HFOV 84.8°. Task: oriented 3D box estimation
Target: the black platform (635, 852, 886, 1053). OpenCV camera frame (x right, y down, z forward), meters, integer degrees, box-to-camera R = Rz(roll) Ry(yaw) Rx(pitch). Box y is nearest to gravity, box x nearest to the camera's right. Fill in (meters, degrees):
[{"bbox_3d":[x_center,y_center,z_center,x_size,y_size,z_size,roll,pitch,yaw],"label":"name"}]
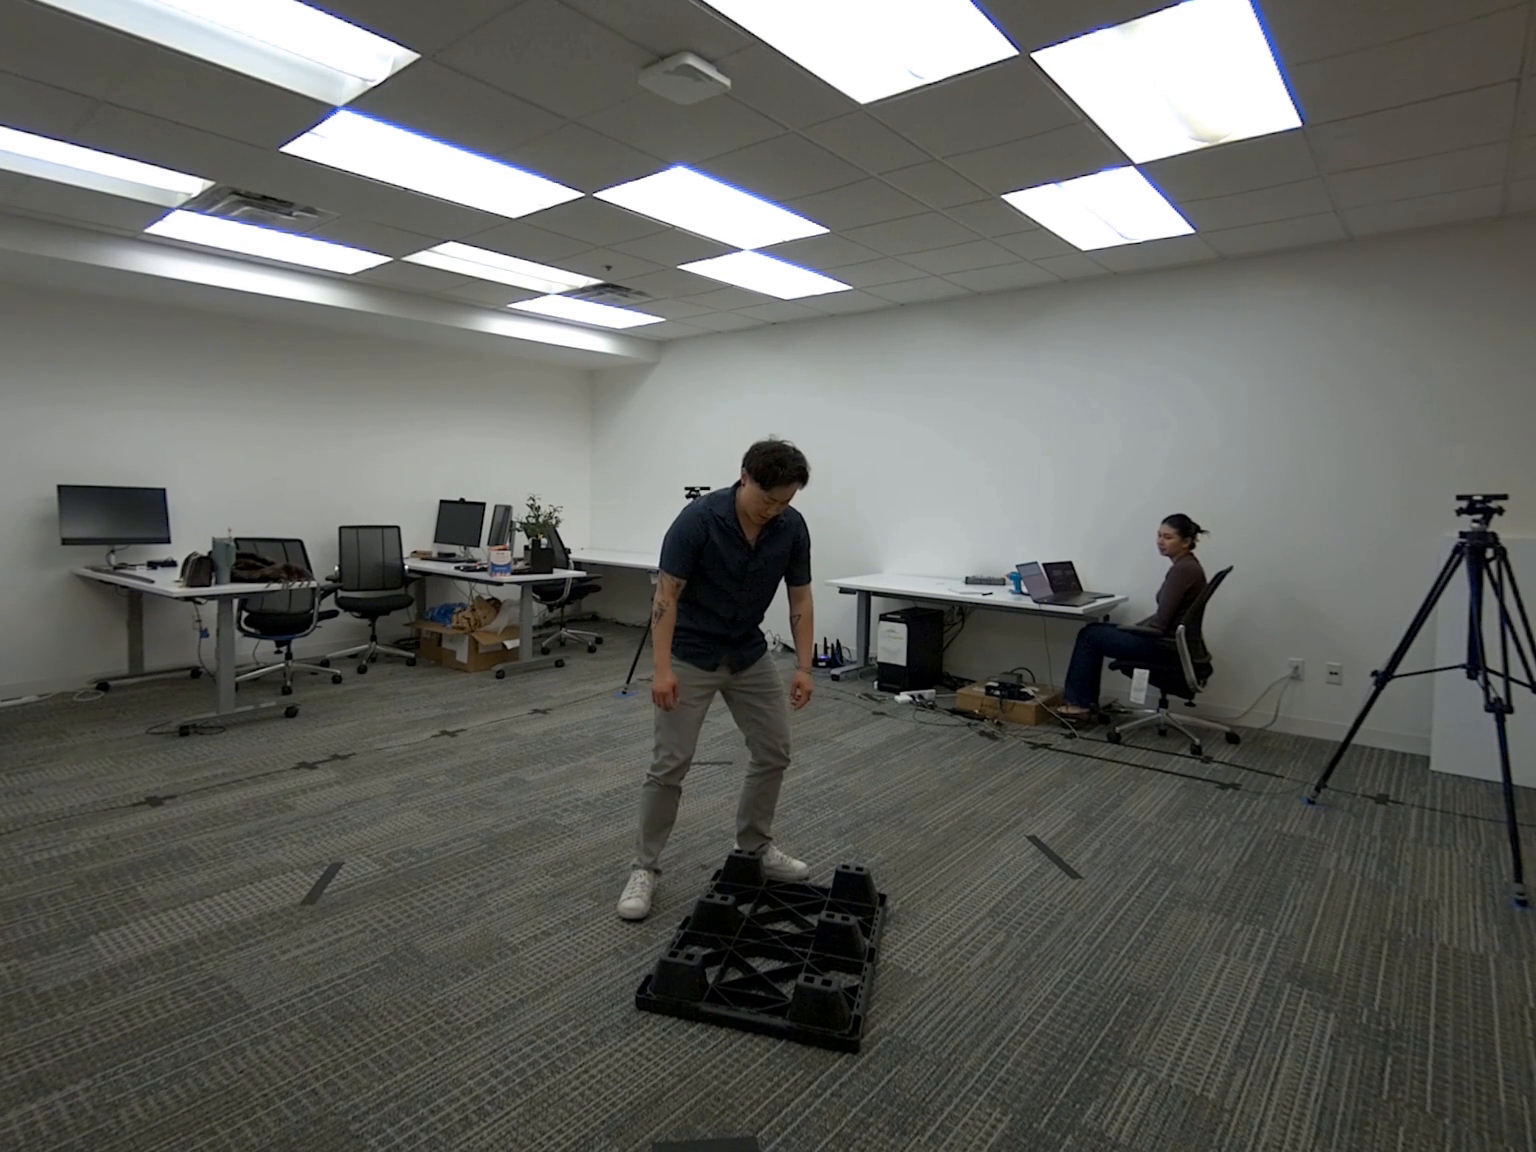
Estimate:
[{"bbox_3d":[0.021,1.060,2.550,0.615,0.143,0.796,2,6,14],"label":"black platform"}]
